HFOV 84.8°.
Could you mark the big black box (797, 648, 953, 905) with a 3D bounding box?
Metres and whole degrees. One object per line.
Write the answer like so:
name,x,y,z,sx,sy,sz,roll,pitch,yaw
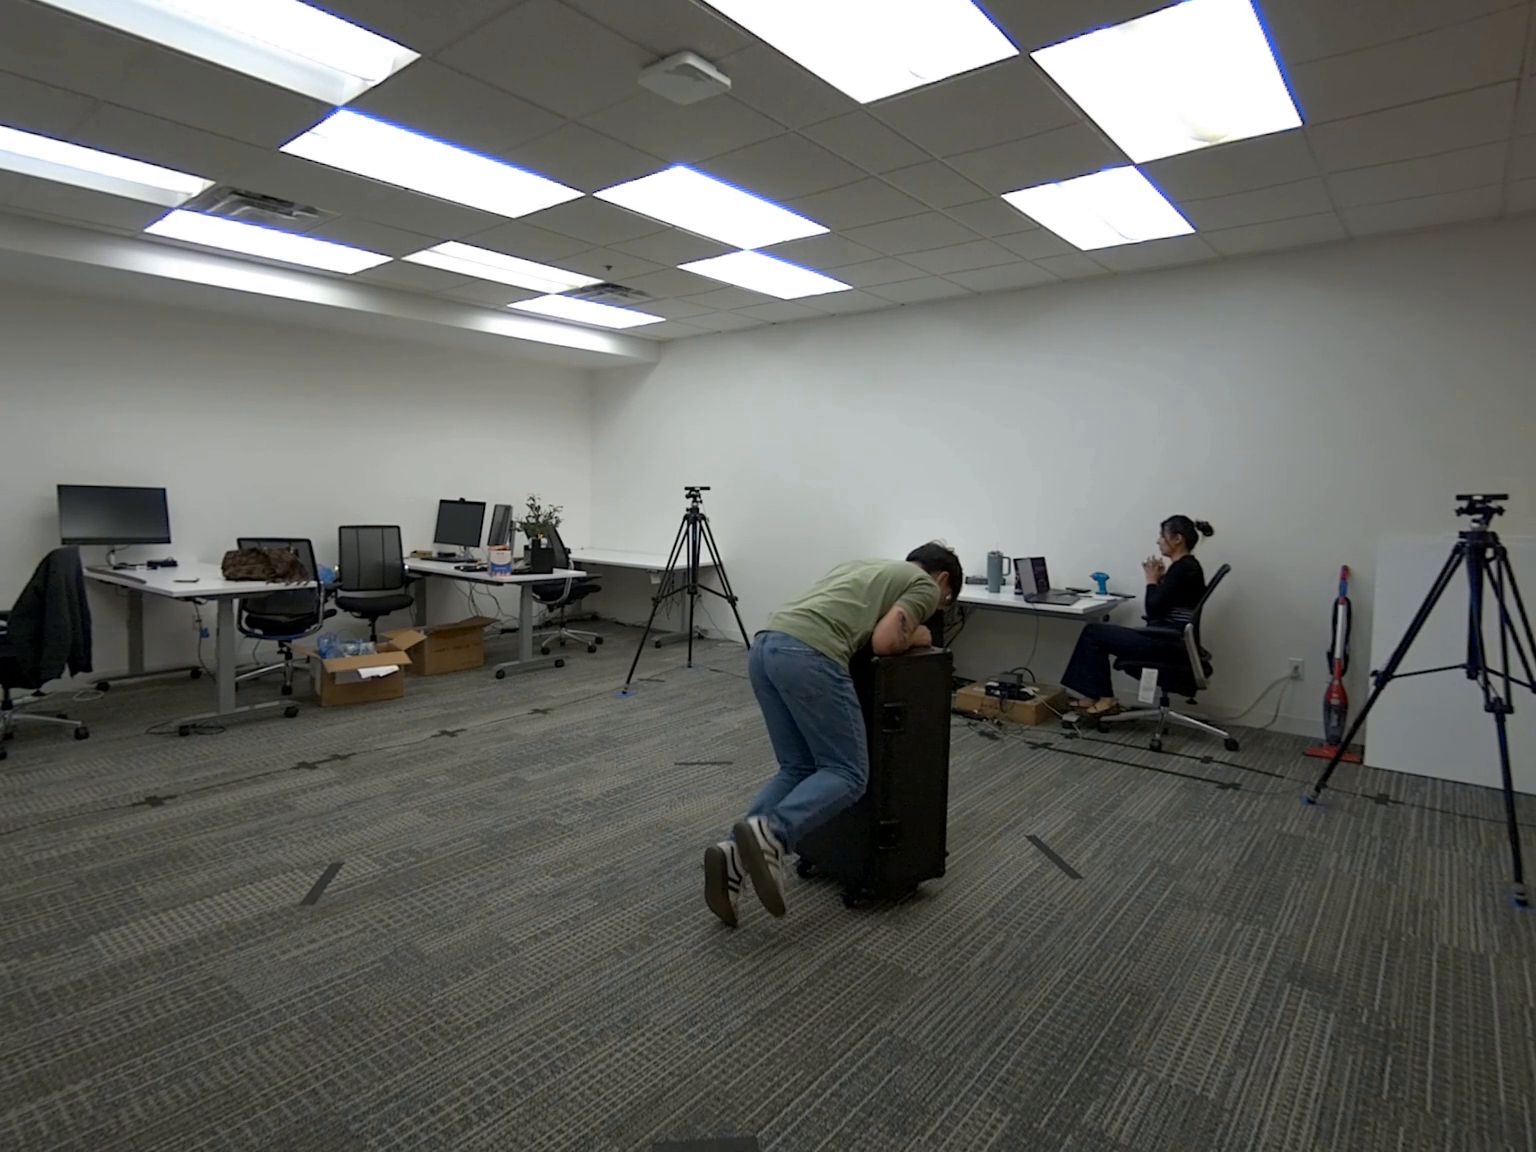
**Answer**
big black box,0.338,0.659,3.031,0.385,0.860,0.538,2,3,-33
